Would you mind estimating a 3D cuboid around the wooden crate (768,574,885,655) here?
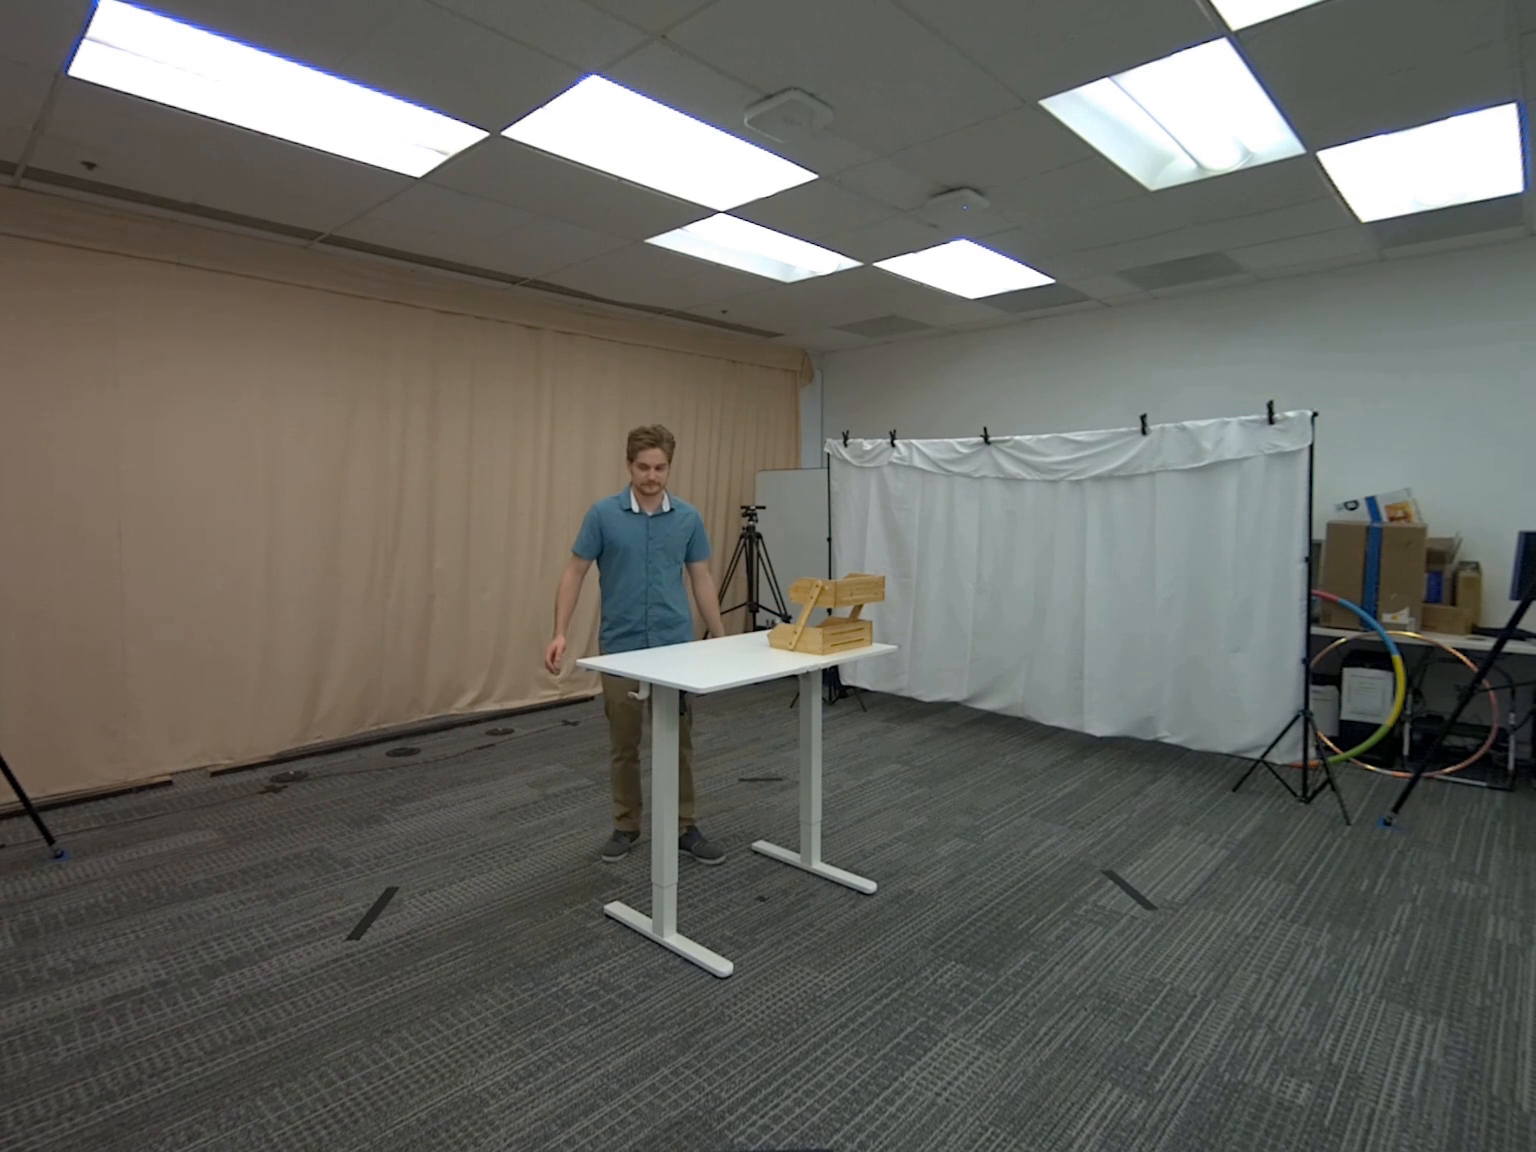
[{"bbox_3d":[0.214,0.125,3.033,0.312,0.272,0.314,5,6,43],"label":"wooden crate"}]
